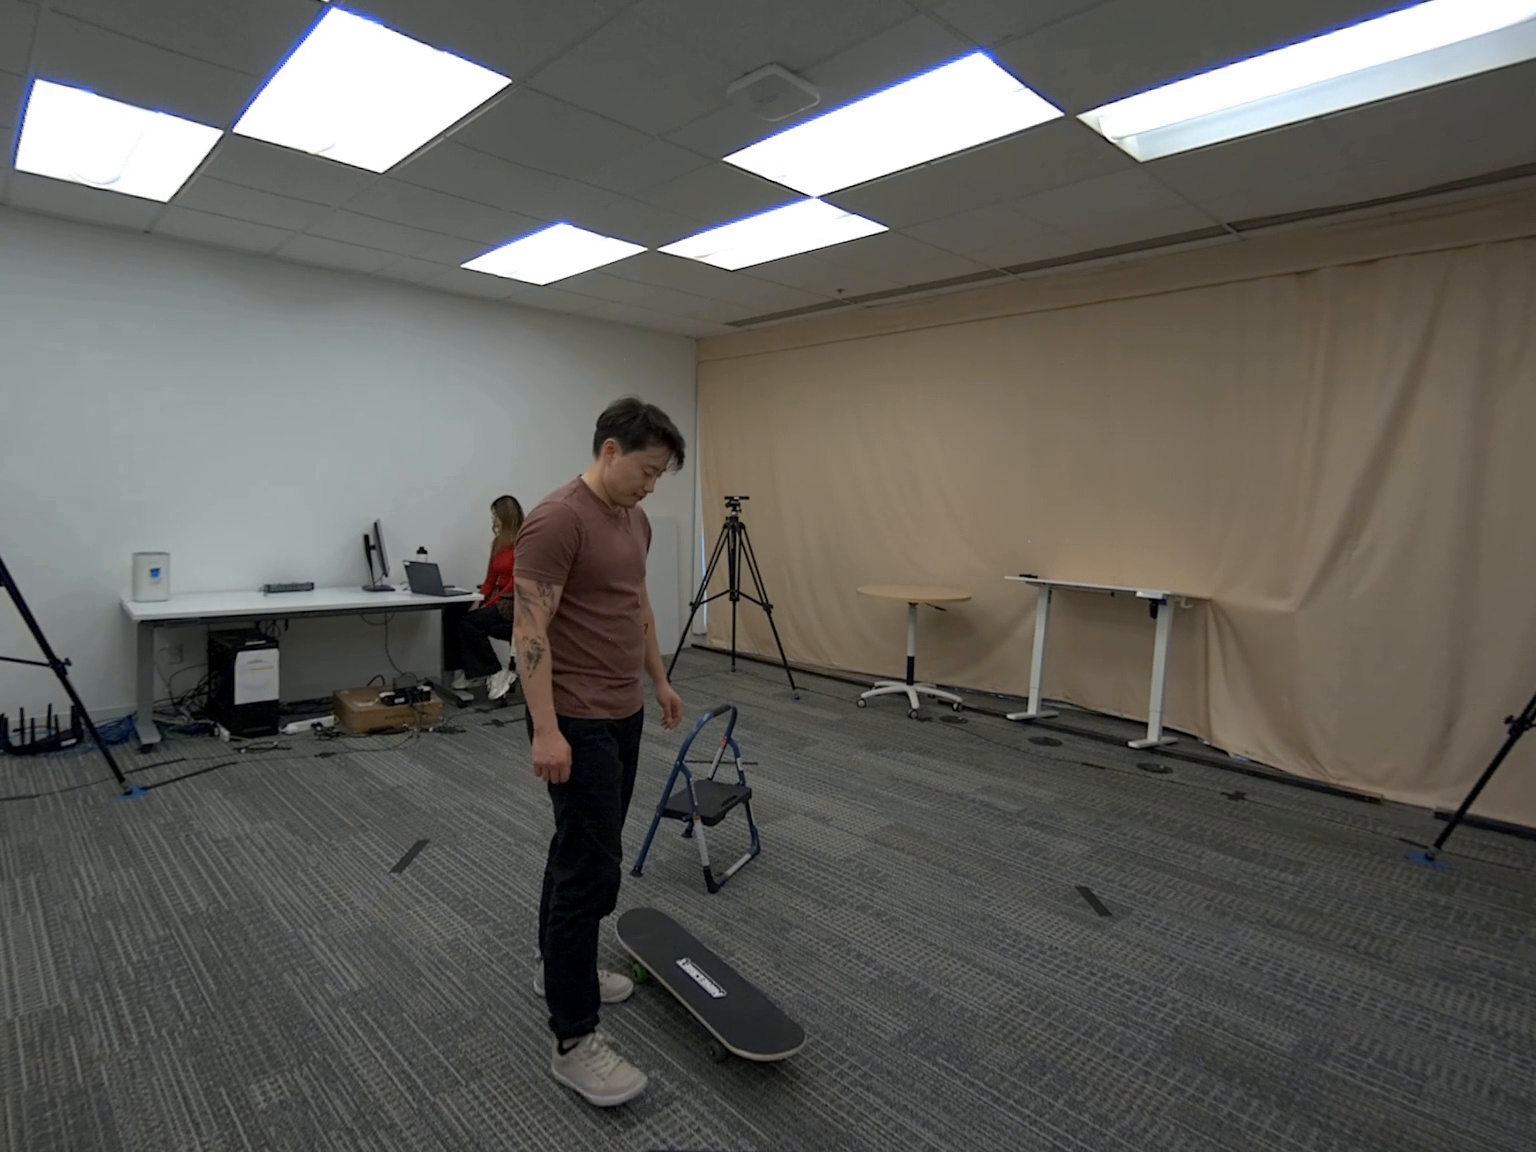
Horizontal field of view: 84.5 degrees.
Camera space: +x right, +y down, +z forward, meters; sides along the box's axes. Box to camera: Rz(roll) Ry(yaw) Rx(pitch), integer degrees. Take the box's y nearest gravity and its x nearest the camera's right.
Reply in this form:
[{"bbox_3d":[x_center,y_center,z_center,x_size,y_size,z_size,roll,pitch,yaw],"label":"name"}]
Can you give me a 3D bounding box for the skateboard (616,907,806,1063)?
[{"bbox_3d":[-0.199,1.128,2.287,0.189,0.110,0.805,-3,7,-36],"label":"skateboard"}]
